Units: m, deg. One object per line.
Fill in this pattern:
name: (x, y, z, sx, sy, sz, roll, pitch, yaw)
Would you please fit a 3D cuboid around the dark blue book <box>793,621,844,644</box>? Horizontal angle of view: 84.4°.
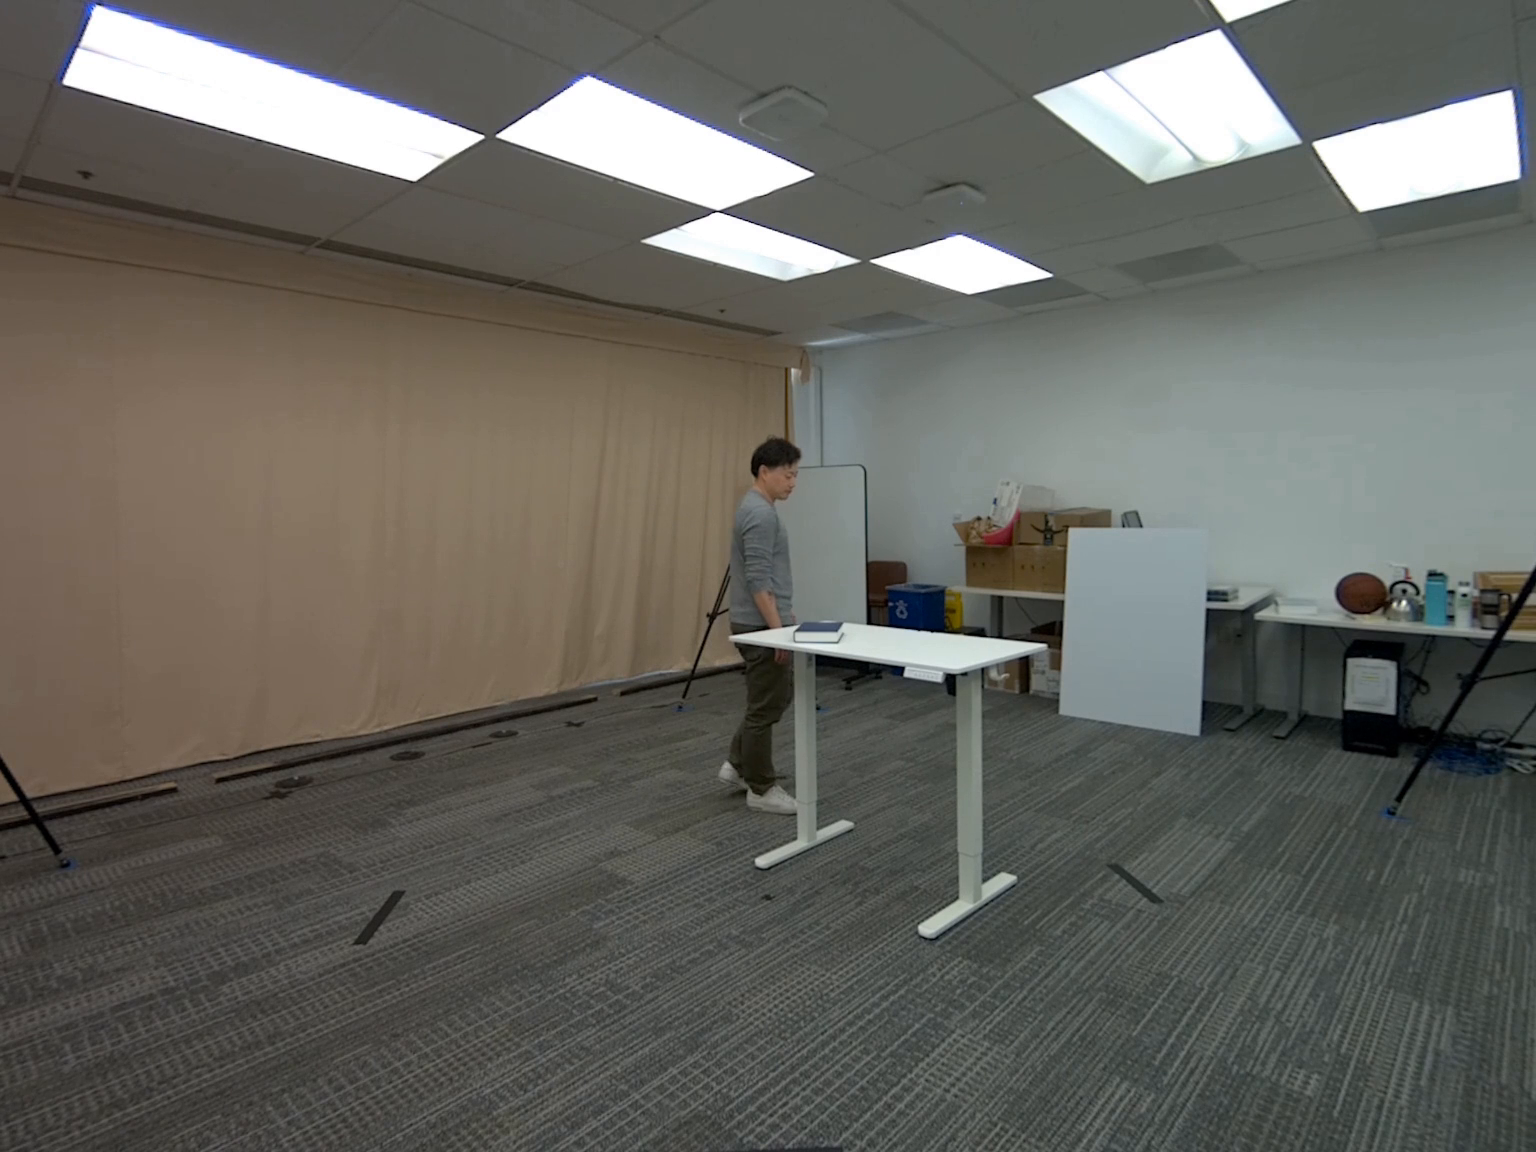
dark blue book: (0.198, 0.212, 3.207, 0.166, 0.045, 0.242, -1, 5, 13)
